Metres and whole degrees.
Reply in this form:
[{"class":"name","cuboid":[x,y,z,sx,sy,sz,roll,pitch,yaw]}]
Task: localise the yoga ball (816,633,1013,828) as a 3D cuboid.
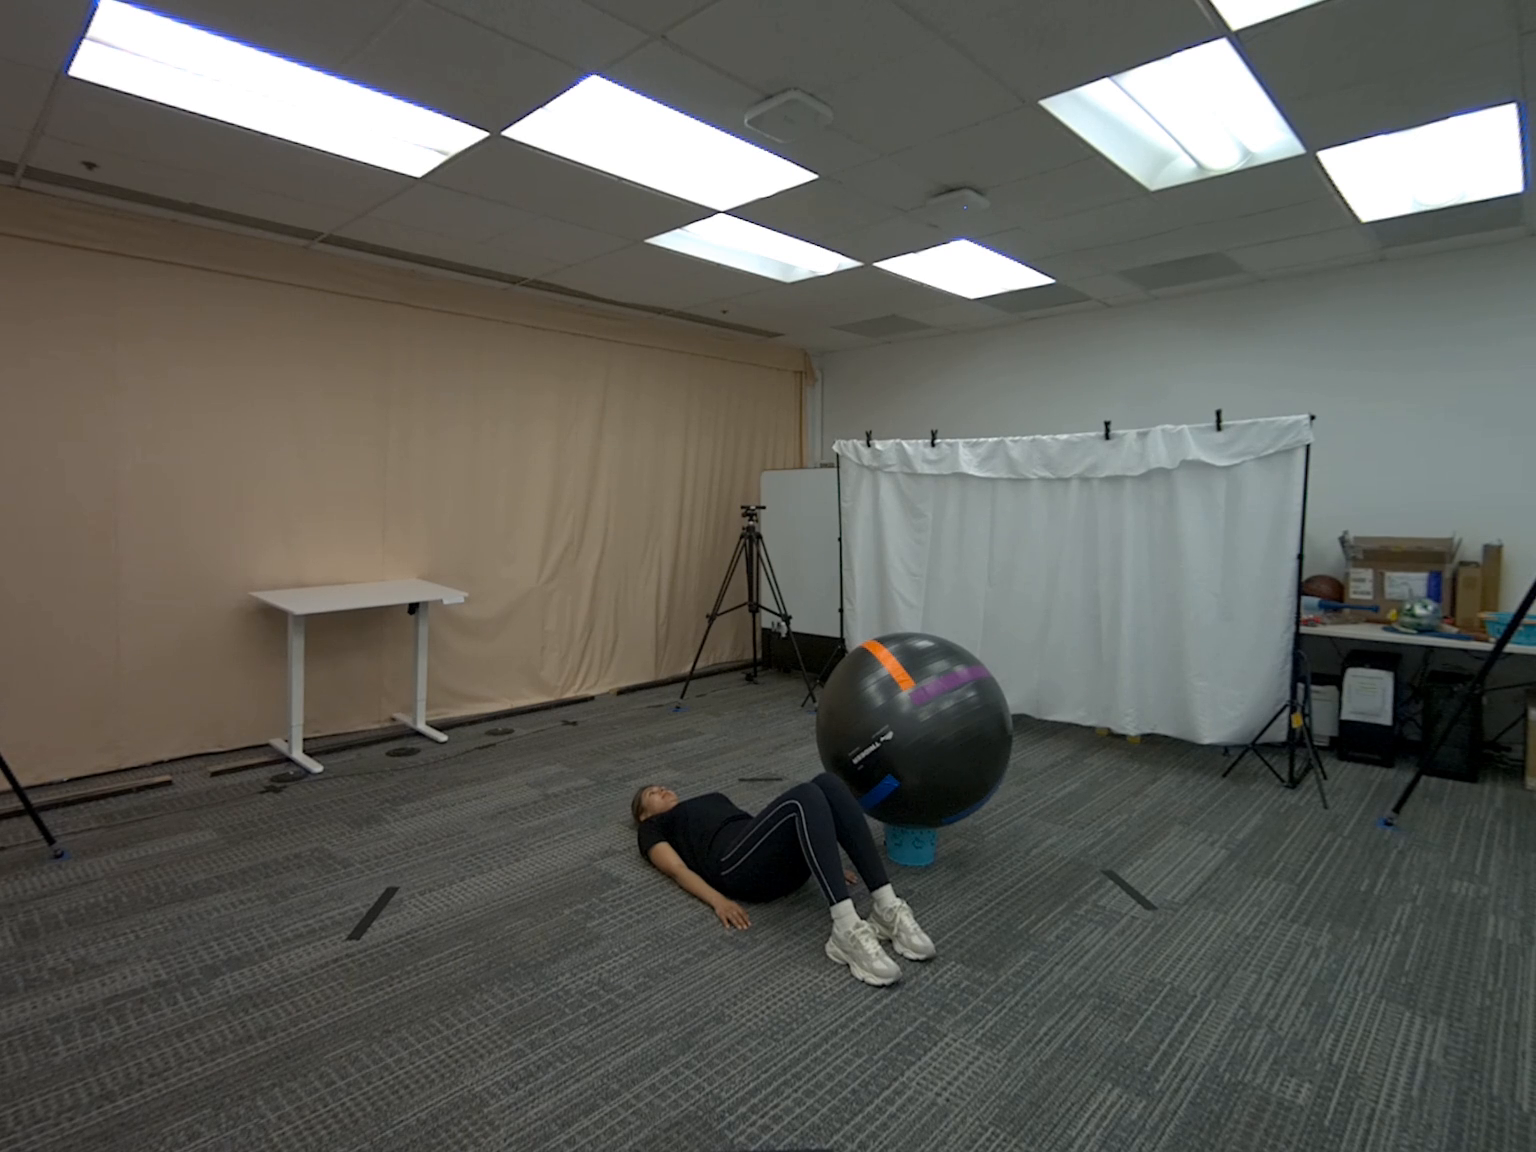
[{"class":"yoga ball","cuboid":[0.571,0.605,3.332,0.757,0.756,0.761,3,5,-2]}]
